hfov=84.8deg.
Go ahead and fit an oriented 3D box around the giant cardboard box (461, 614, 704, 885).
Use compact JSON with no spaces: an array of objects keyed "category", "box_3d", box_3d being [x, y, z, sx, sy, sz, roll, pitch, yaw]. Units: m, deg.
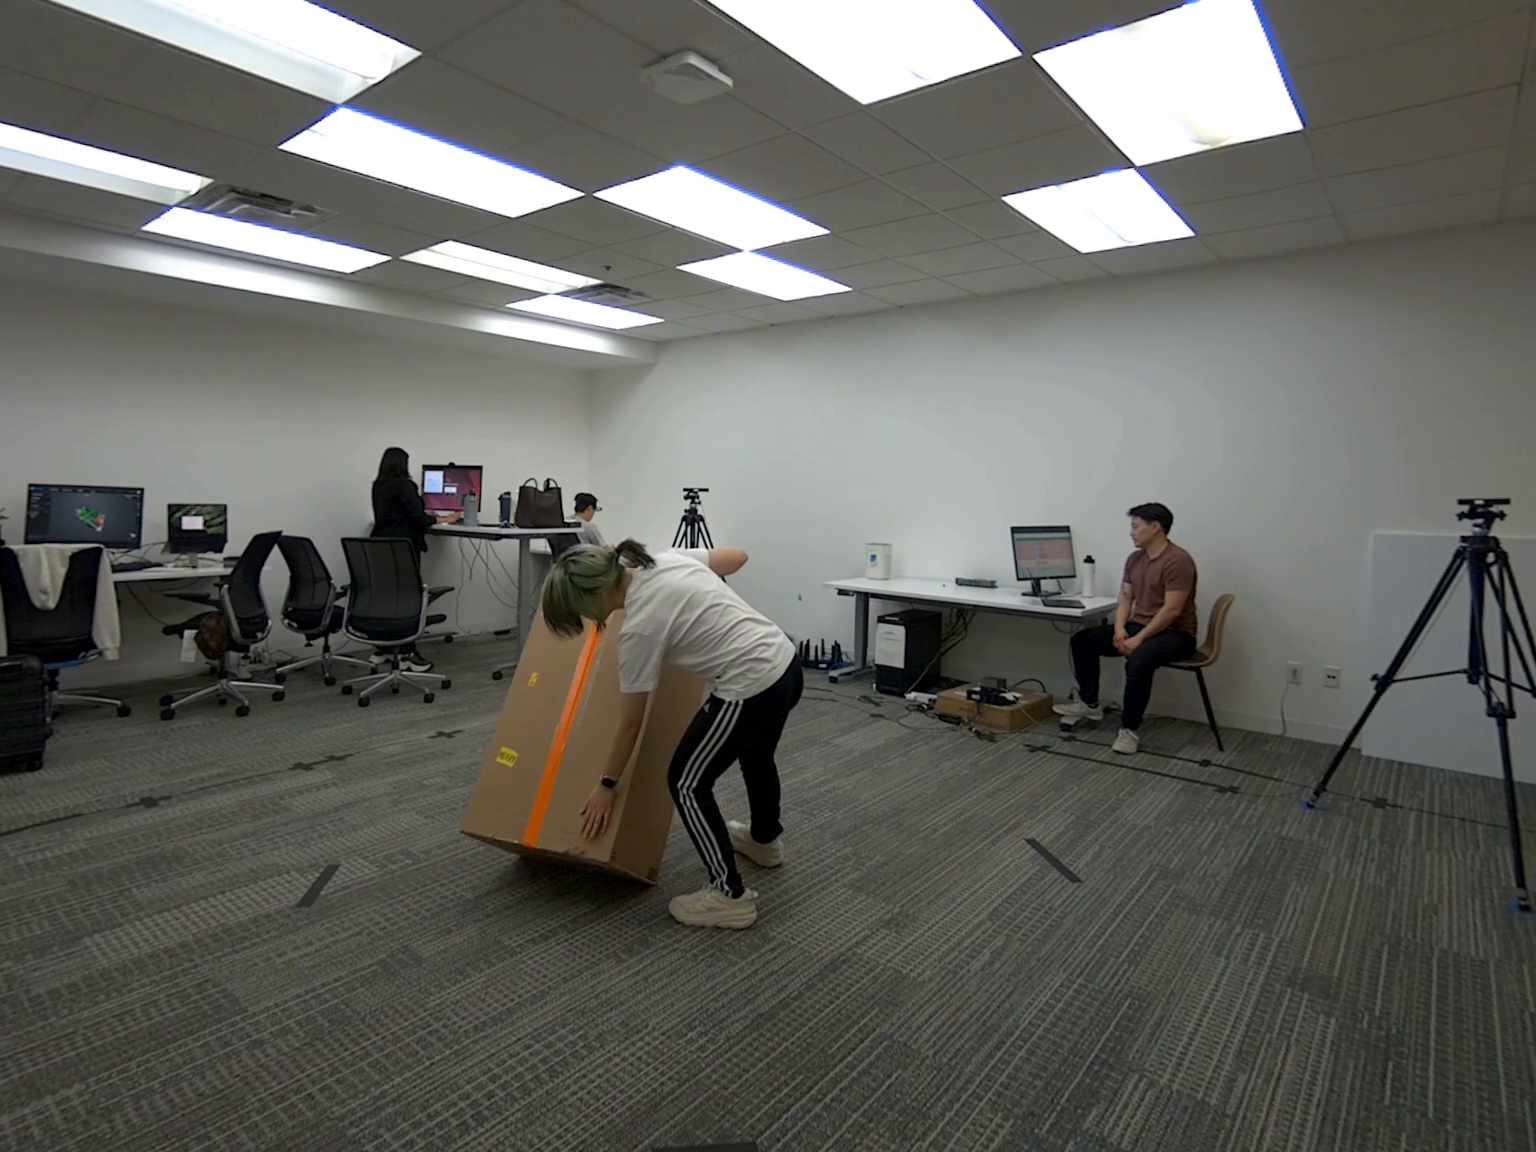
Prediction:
[{"category":"giant cardboard box","box_3d":[-0.628,0.520,3.142,0.590,1.043,0.410,2,-28,20]}]
